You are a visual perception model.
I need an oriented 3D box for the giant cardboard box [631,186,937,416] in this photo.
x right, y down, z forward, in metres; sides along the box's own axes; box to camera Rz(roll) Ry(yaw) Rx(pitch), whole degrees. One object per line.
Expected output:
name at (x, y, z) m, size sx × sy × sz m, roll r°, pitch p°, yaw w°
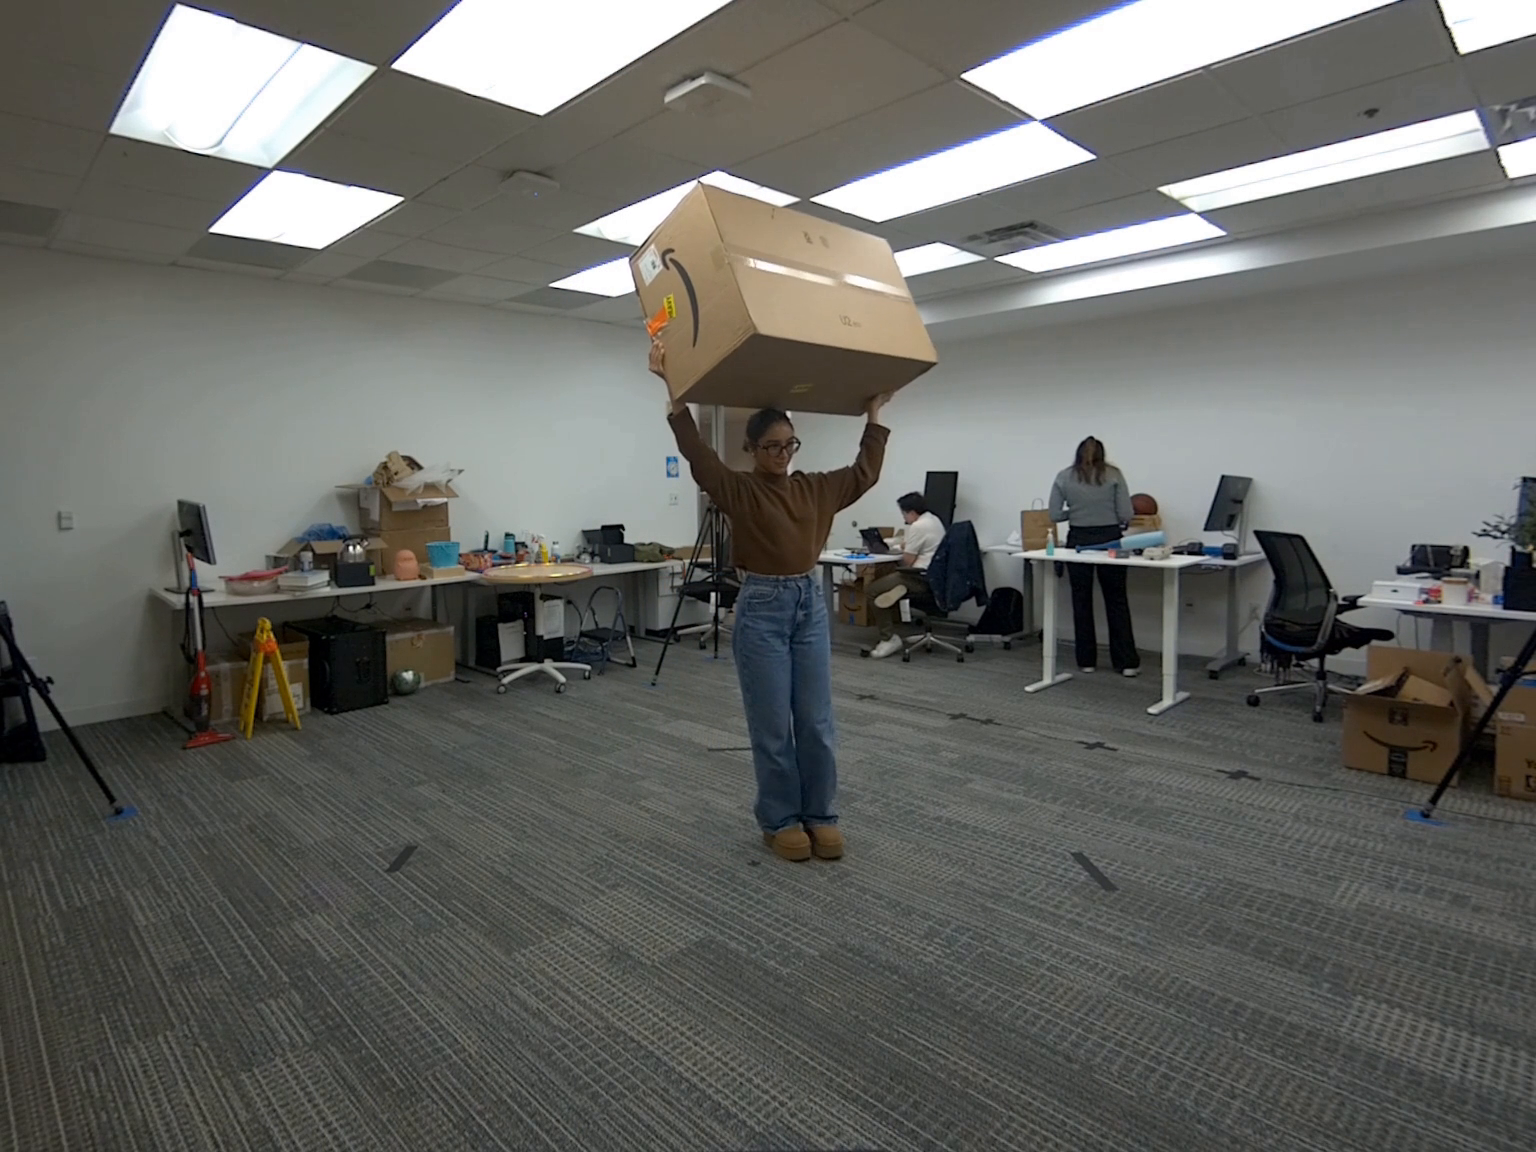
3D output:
giant cardboard box at (0.080, -0.956, 3.130) m, size 0.999 × 0.587 × 0.430 m, roll -6°, pitch -19°, yaw -45°
